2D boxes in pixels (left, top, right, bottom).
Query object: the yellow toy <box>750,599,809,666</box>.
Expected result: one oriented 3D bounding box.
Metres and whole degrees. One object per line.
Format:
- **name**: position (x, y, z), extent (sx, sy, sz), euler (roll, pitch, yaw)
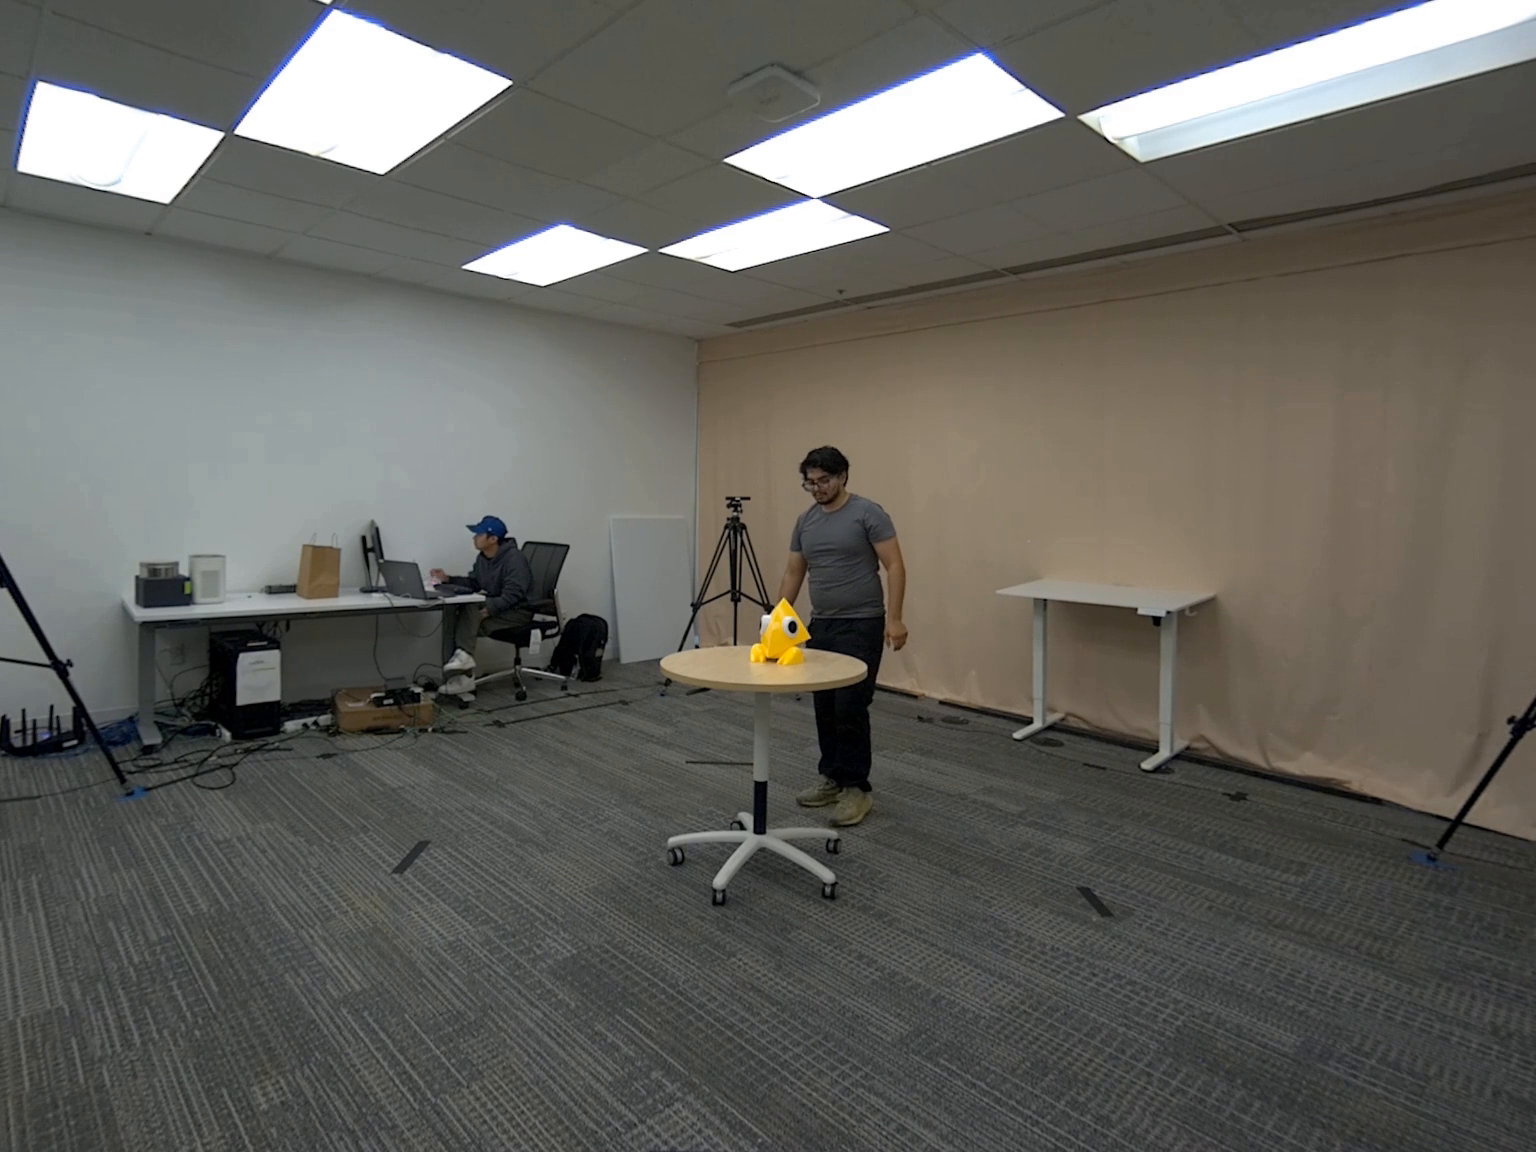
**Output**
- **yellow toy**: position (0.021, 0.205, 3.191), extent (0.208, 0.230, 0.190), euler (2, 3, 23)
